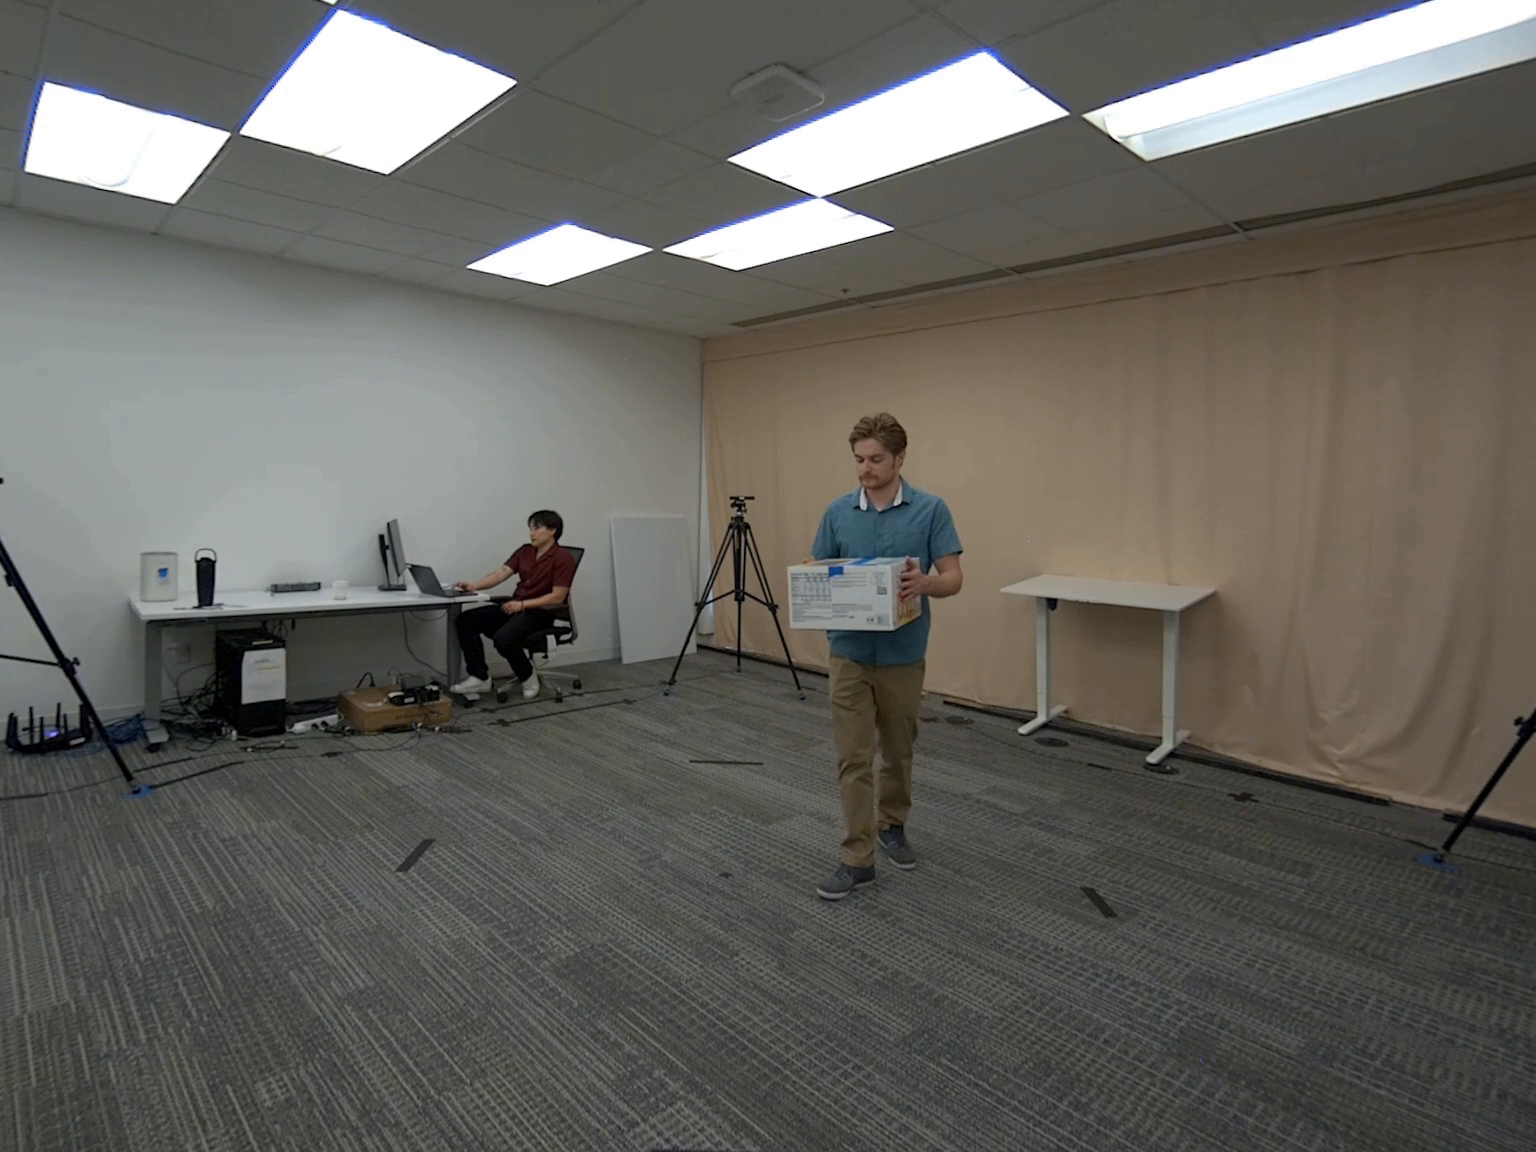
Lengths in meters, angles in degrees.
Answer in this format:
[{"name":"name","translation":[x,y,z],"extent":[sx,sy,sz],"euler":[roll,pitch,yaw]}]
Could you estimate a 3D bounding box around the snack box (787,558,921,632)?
[{"name":"snack box","translation":[0.283,0.050,2.811],"extent":[0.346,0.205,0.399],"euler":[0,4,24]}]
